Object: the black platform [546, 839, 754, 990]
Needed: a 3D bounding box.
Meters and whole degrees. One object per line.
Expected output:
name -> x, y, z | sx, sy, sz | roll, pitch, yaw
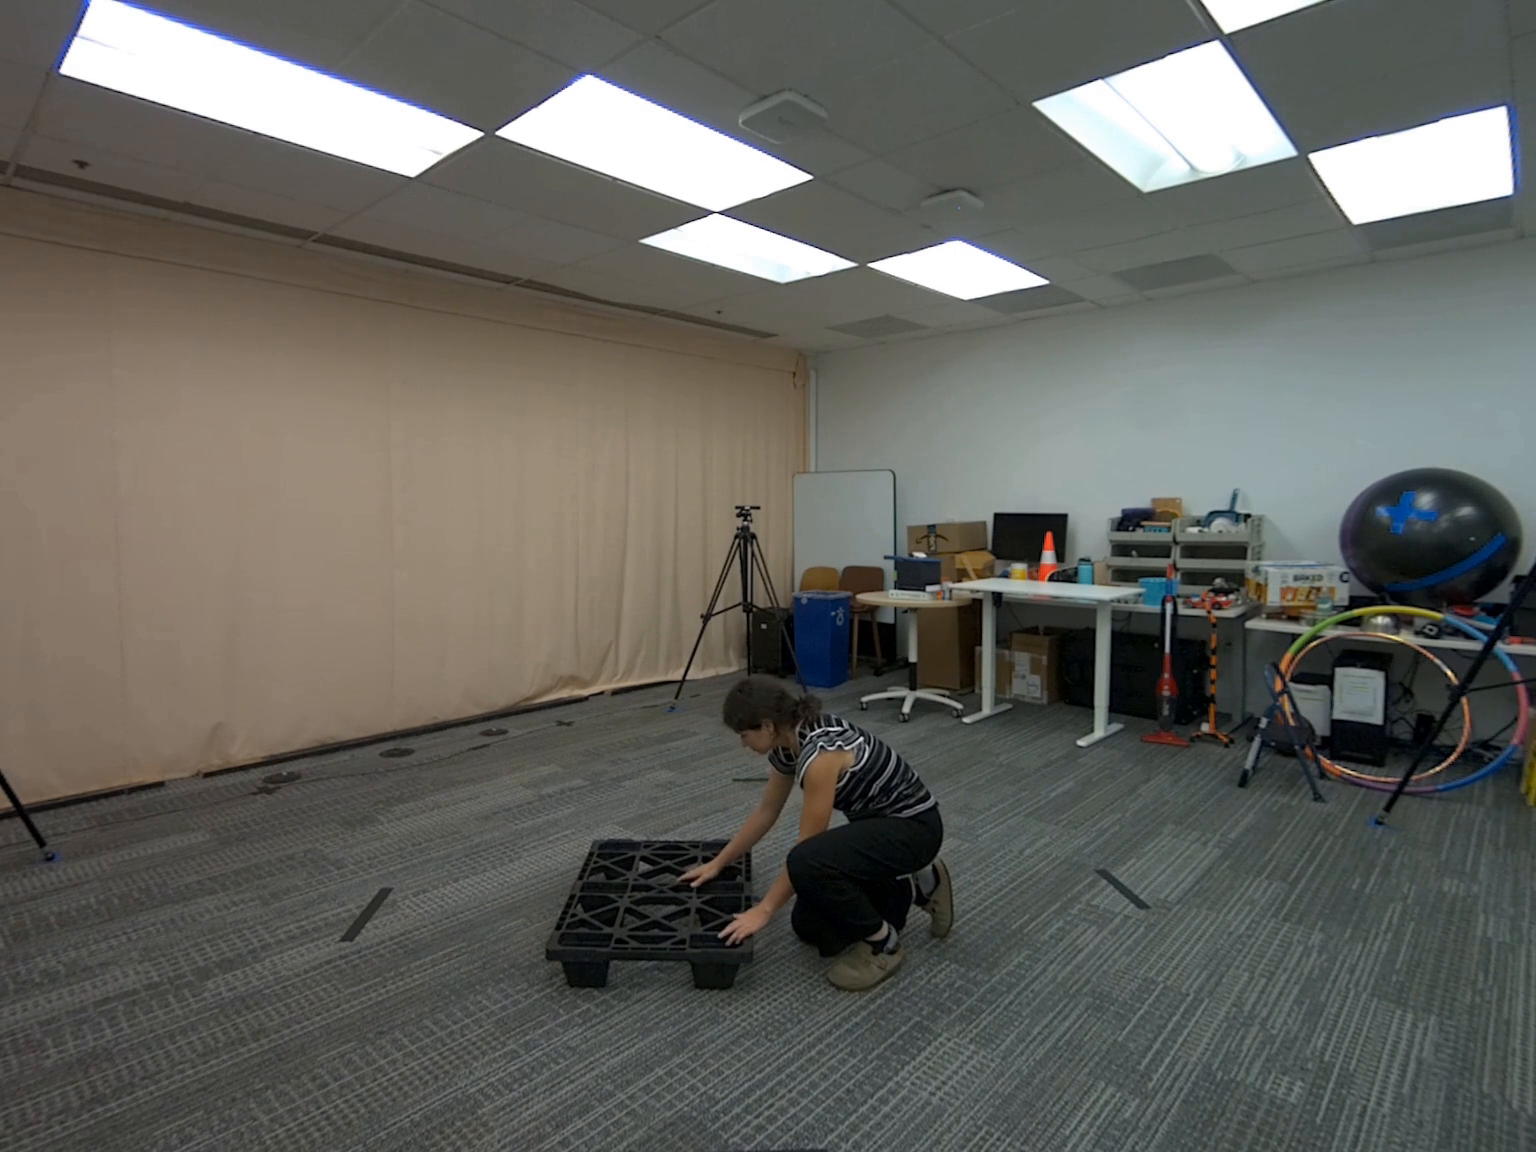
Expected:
black platform -> -0.347, 1.097, 2.793 | 0.606, 0.143, 0.807 | 0, 5, 0
